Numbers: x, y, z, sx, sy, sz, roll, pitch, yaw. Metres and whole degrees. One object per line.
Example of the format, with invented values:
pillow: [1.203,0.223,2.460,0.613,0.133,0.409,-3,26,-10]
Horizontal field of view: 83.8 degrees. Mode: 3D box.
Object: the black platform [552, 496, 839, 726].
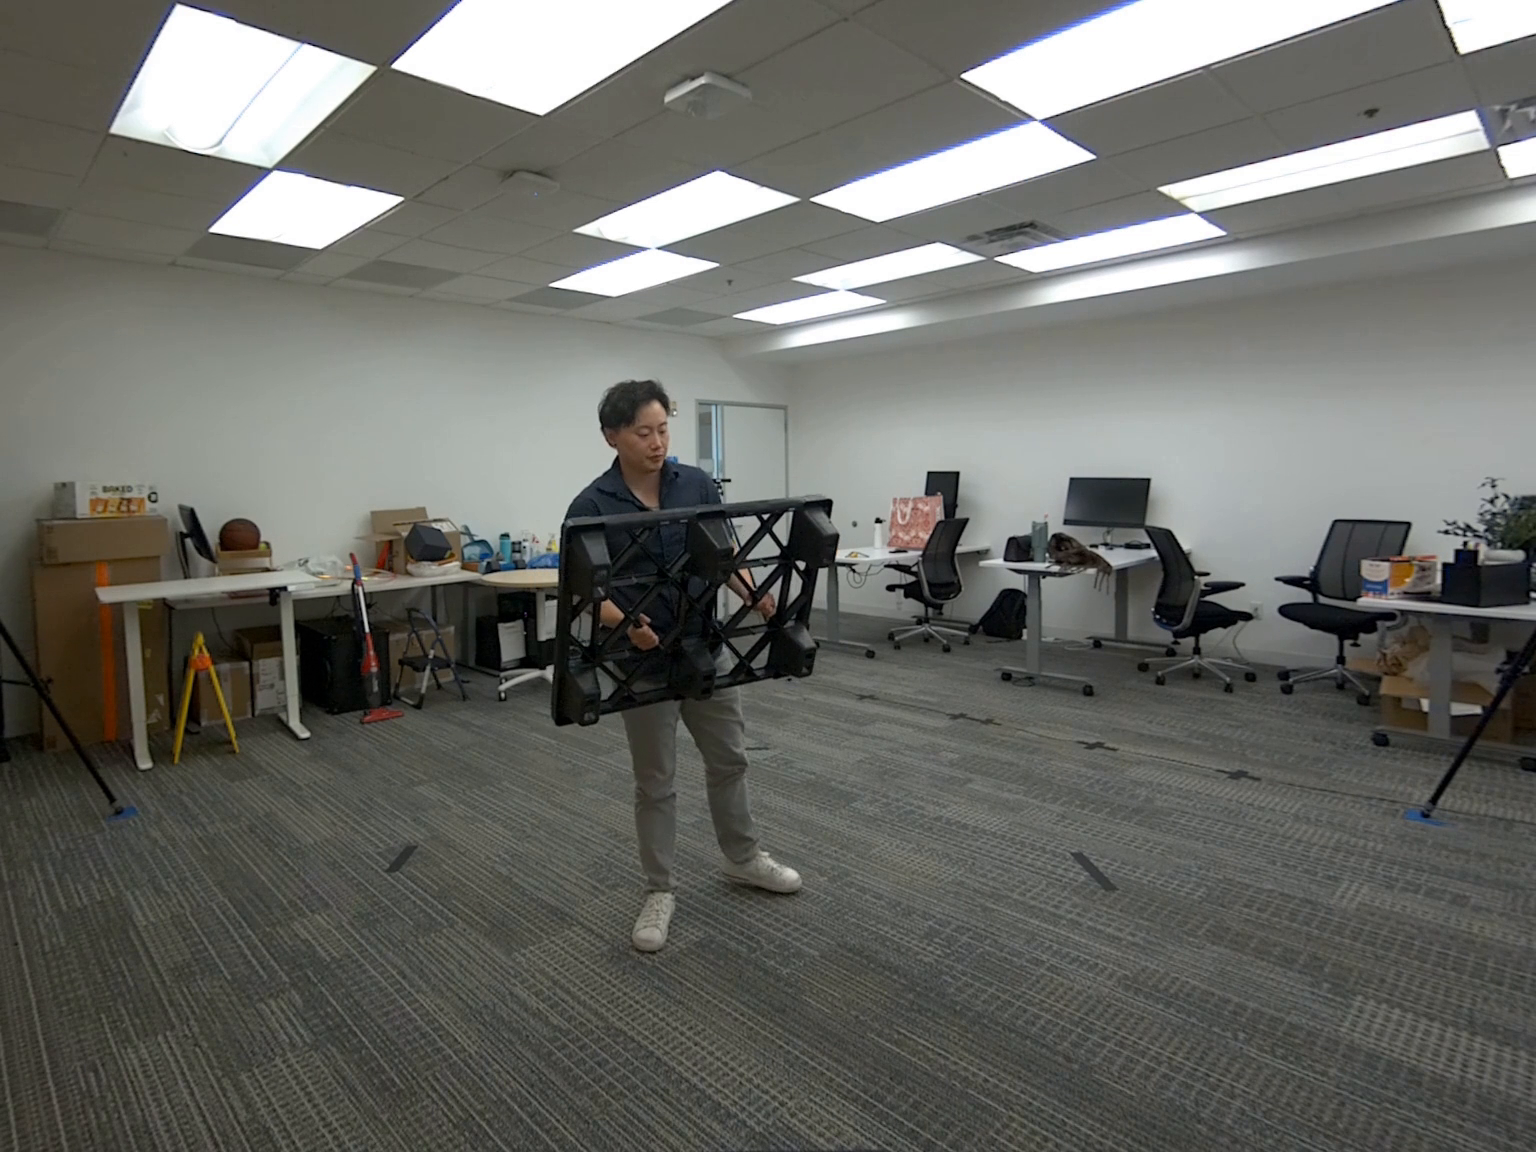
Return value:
black platform: [-0.165,0.102,2.332,0.788,0.594,0.149,-8,29,-30]
